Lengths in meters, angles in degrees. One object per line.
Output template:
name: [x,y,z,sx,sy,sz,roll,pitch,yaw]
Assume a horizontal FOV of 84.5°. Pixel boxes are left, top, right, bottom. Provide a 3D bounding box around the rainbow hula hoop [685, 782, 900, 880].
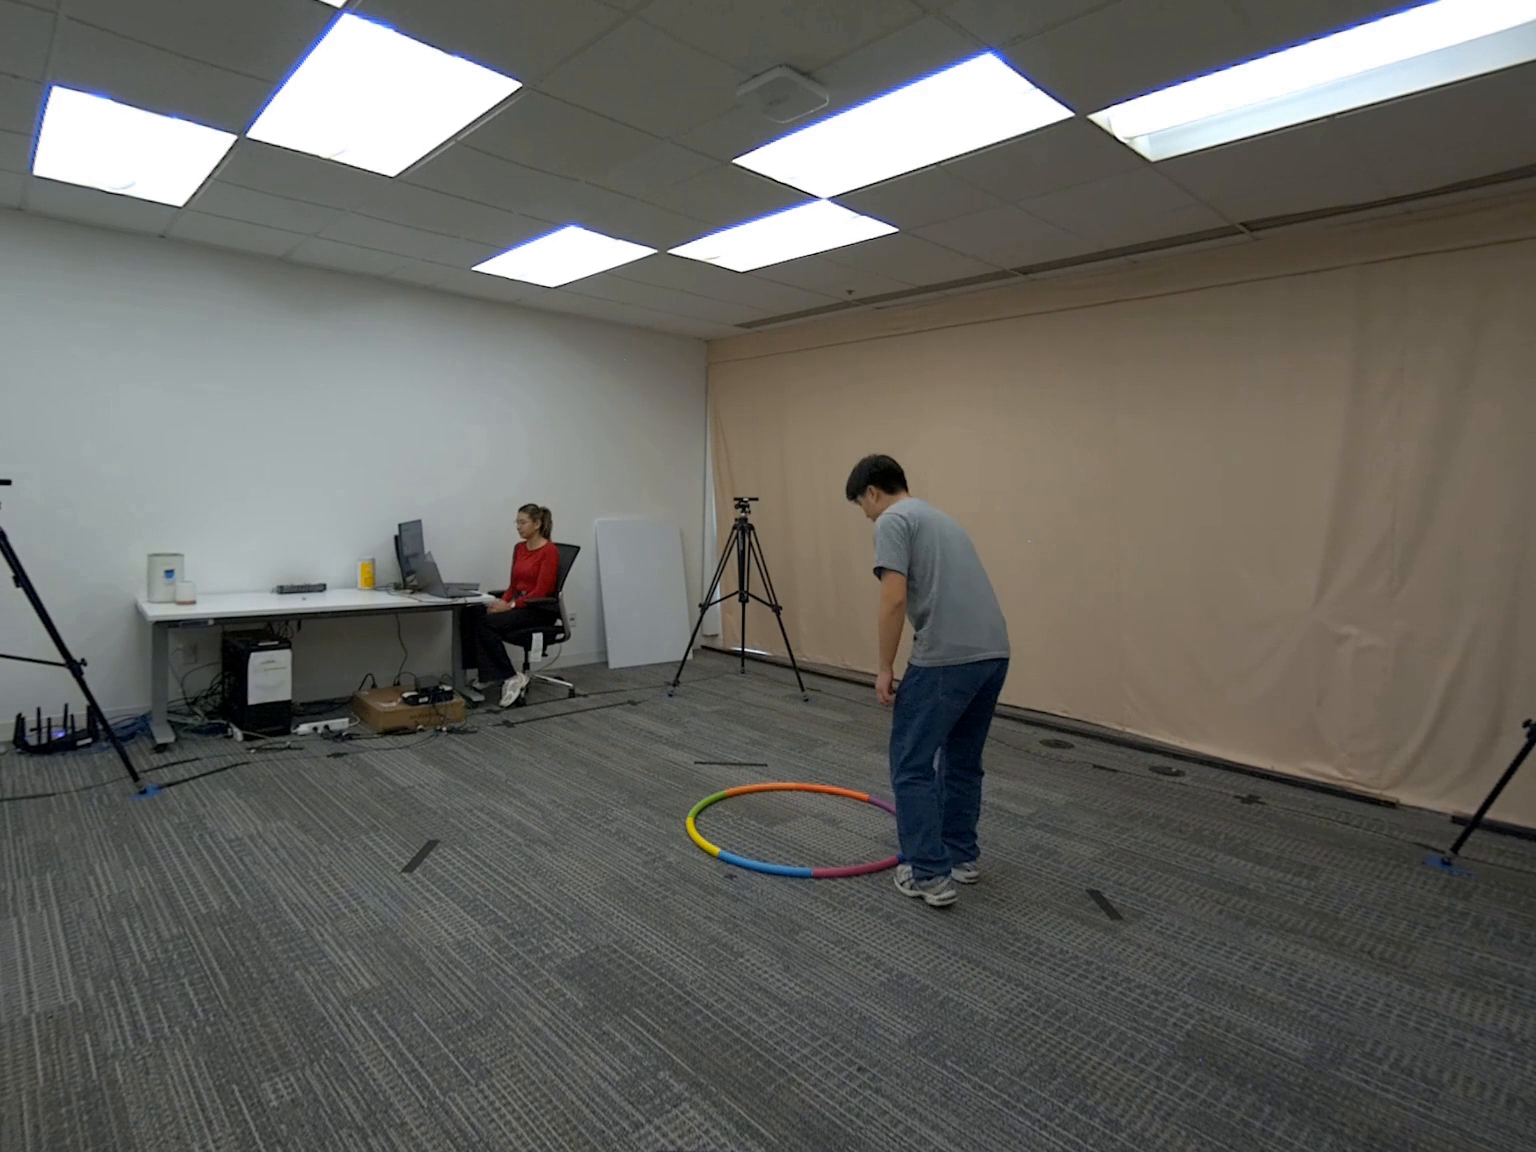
rainbow hula hoop: [0.126,1.041,3.588,0.978,0.035,0.982,2,5,-1]
